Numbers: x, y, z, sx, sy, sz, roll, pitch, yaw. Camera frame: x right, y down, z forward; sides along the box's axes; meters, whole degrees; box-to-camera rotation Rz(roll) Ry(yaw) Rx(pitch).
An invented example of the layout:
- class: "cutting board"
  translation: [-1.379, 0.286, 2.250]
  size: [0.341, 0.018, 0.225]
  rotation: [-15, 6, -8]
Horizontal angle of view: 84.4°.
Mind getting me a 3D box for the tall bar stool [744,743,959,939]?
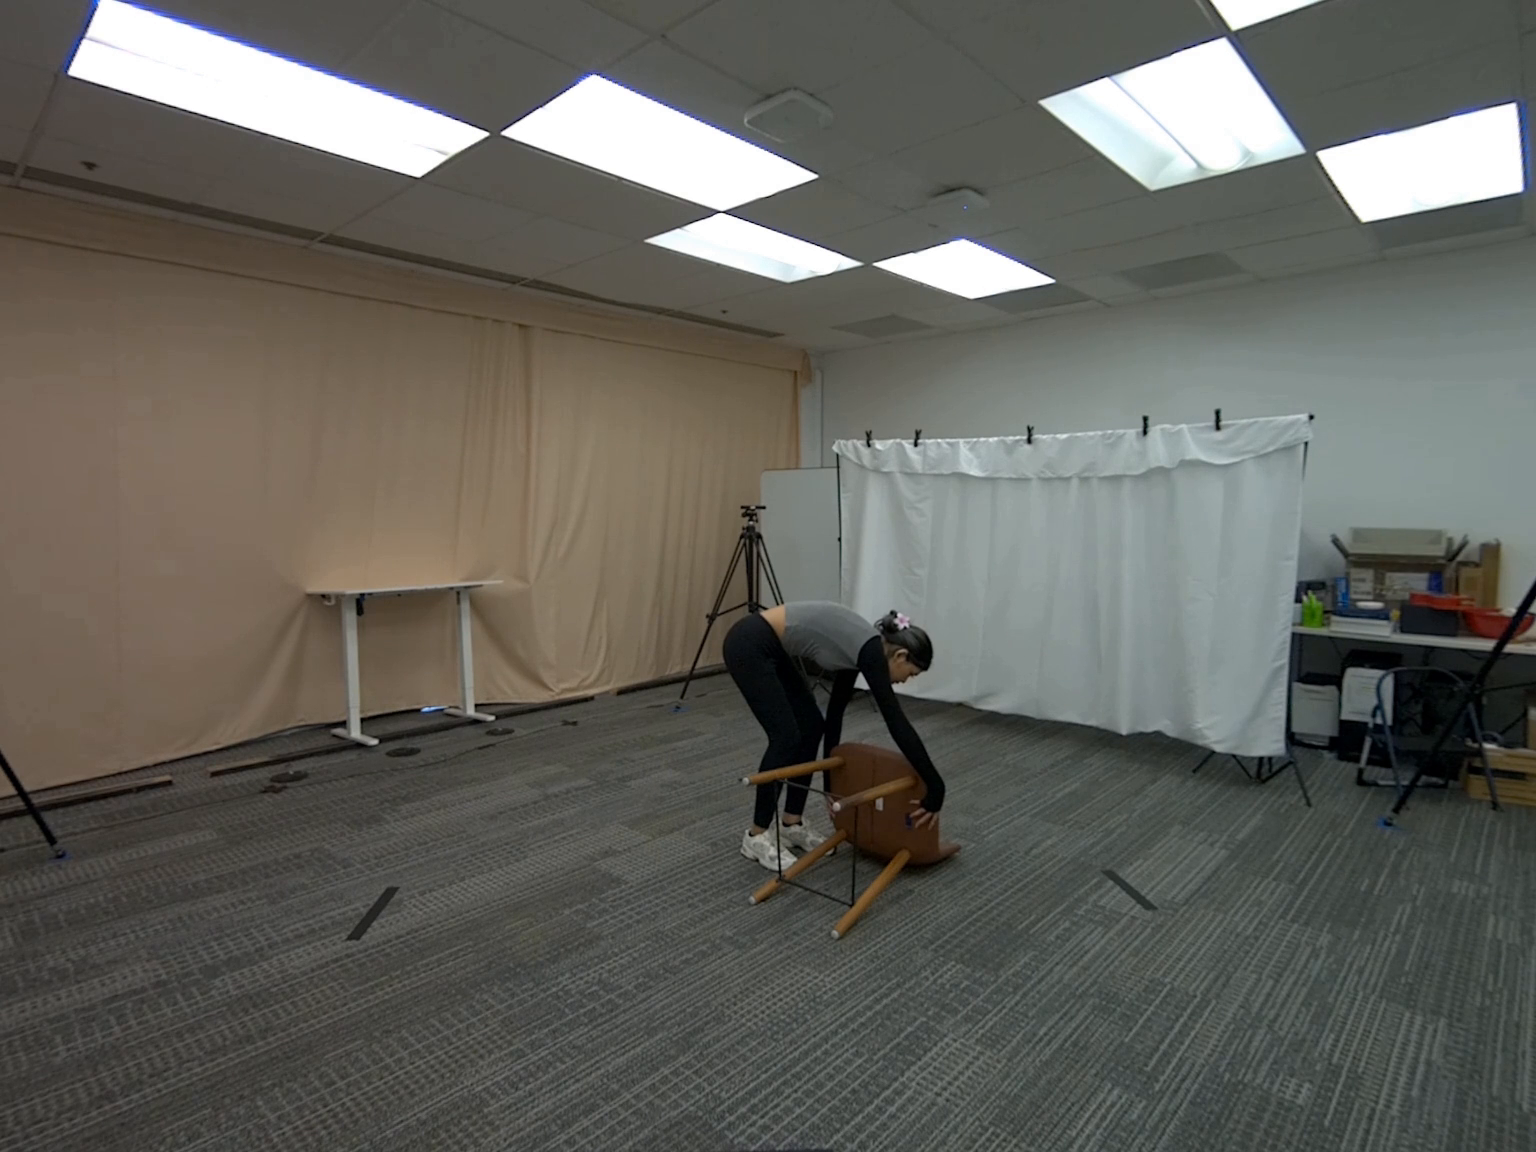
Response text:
- class: "tall bar stool"
  translation: [0.356, 0.903, 3.122]
  size: [0.471, 0.466, 0.863]
  rotation: [3, 5, 41]
